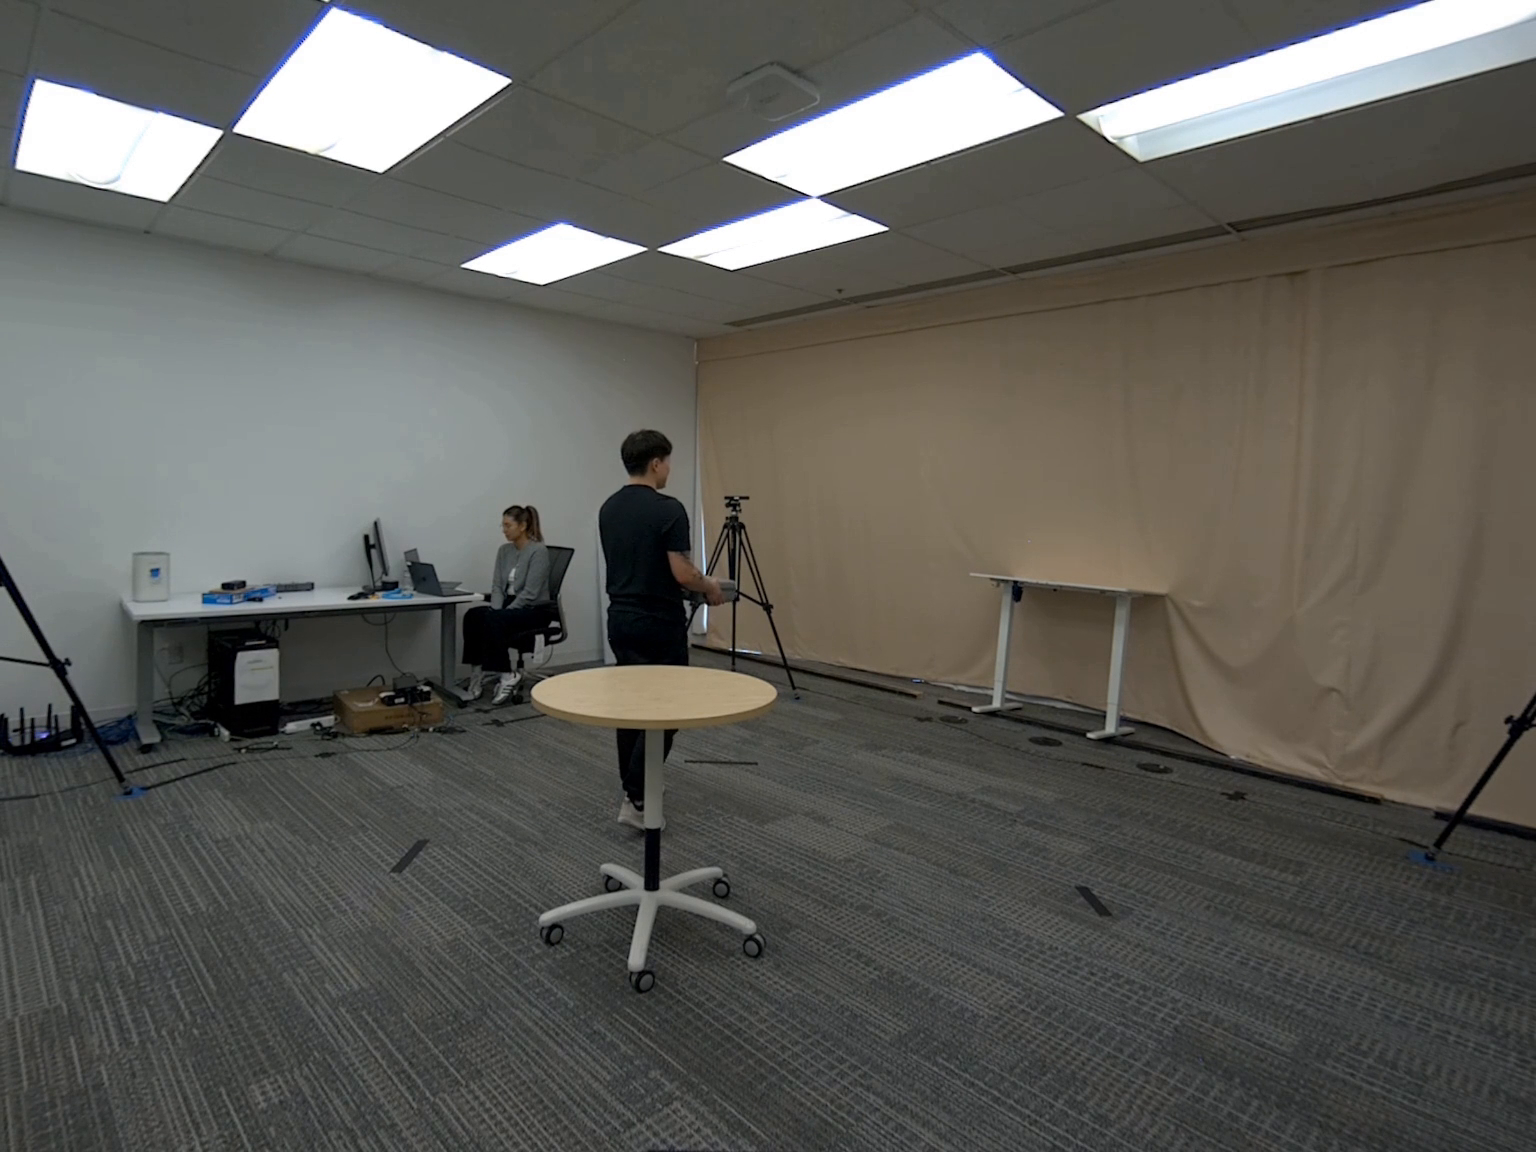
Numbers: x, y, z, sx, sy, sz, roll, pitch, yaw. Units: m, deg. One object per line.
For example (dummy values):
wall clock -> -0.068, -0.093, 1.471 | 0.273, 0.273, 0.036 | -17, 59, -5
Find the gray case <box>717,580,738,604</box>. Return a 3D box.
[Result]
gray case -> -0.323, 0.062, 3.919 | 0.264, 0.104, 0.254 | 12, 9, 41
